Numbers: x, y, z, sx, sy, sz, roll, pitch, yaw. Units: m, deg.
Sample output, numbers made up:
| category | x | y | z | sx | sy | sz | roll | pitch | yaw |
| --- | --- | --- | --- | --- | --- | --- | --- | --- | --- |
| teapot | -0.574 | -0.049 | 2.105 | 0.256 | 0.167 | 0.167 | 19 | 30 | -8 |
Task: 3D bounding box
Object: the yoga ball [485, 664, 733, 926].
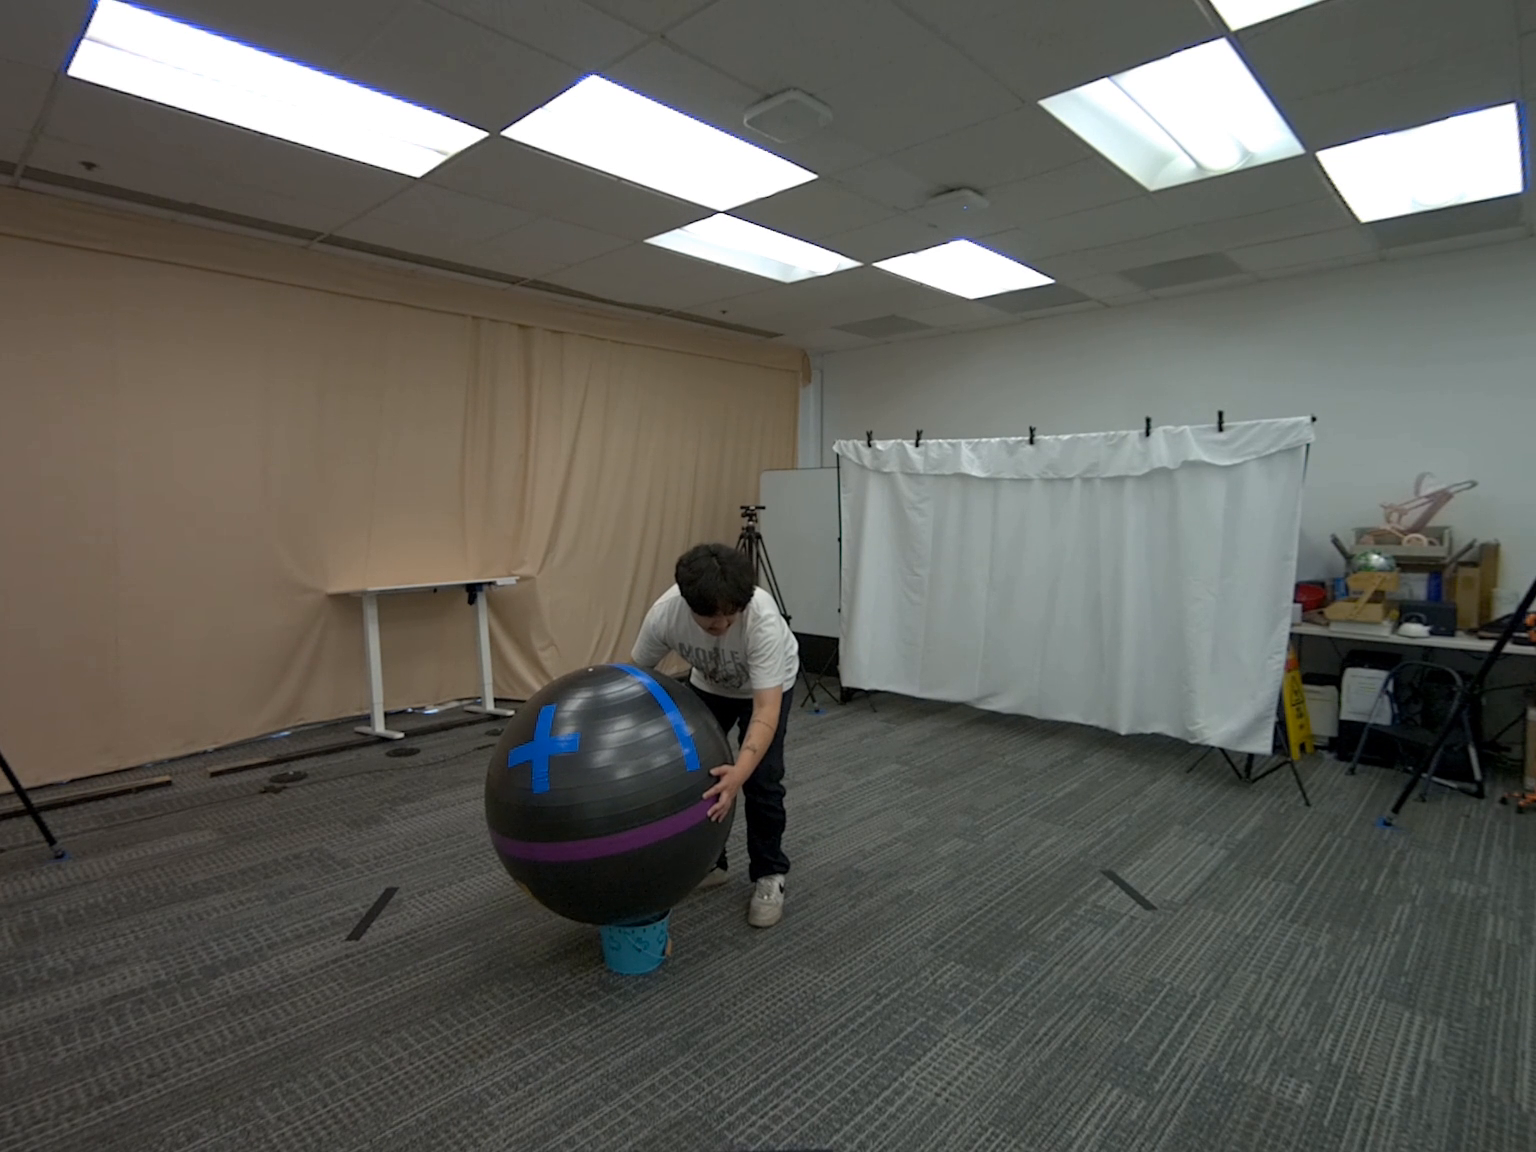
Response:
| category | x | y | z | sx | sy | sz | roll | pitch | yaw |
| --- | --- | --- | --- | --- | --- | --- | --- | --- | --- |
| yoga ball | -0.497 | 0.662 | 2.561 | 0.757 | 0.756 | 0.760 | 0 | 4 | -2 |
